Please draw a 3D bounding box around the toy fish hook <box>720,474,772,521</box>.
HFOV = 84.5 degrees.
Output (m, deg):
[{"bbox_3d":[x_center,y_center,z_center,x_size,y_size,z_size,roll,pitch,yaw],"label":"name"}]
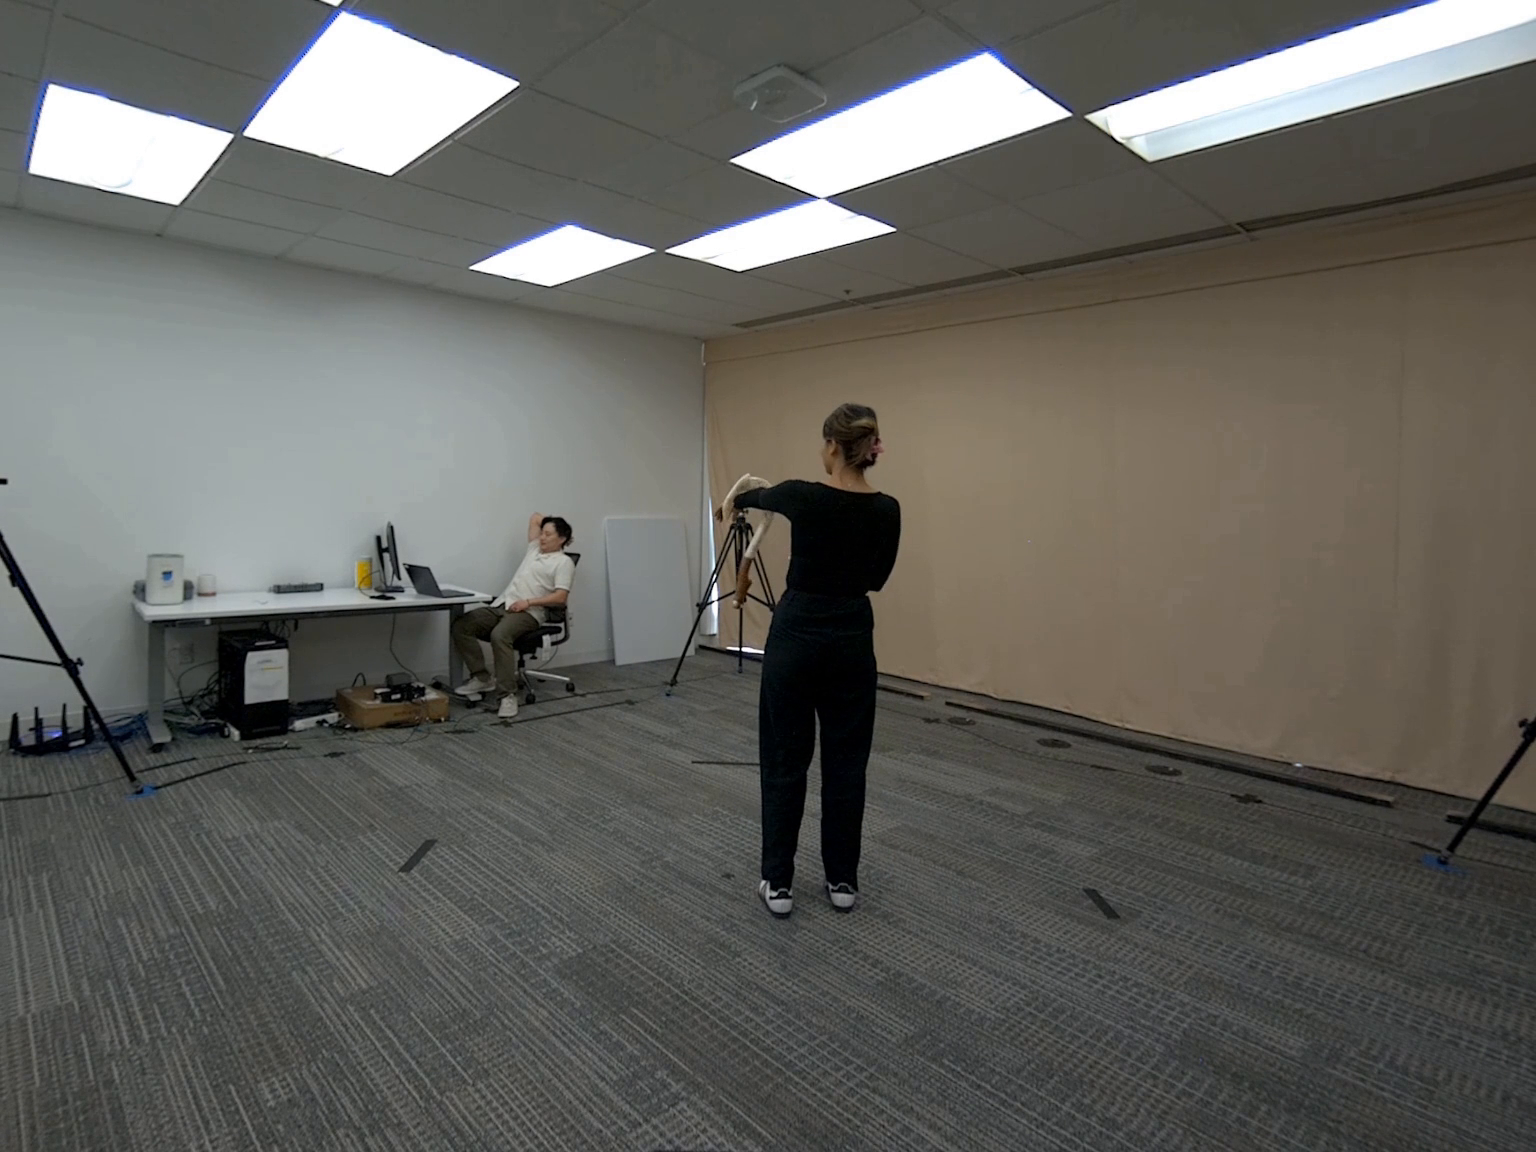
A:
[{"bbox_3d":[-0.095,-0.126,3.209,0.220,0.508,0.049,12,-4,-24],"label":"toy fish hook"}]
